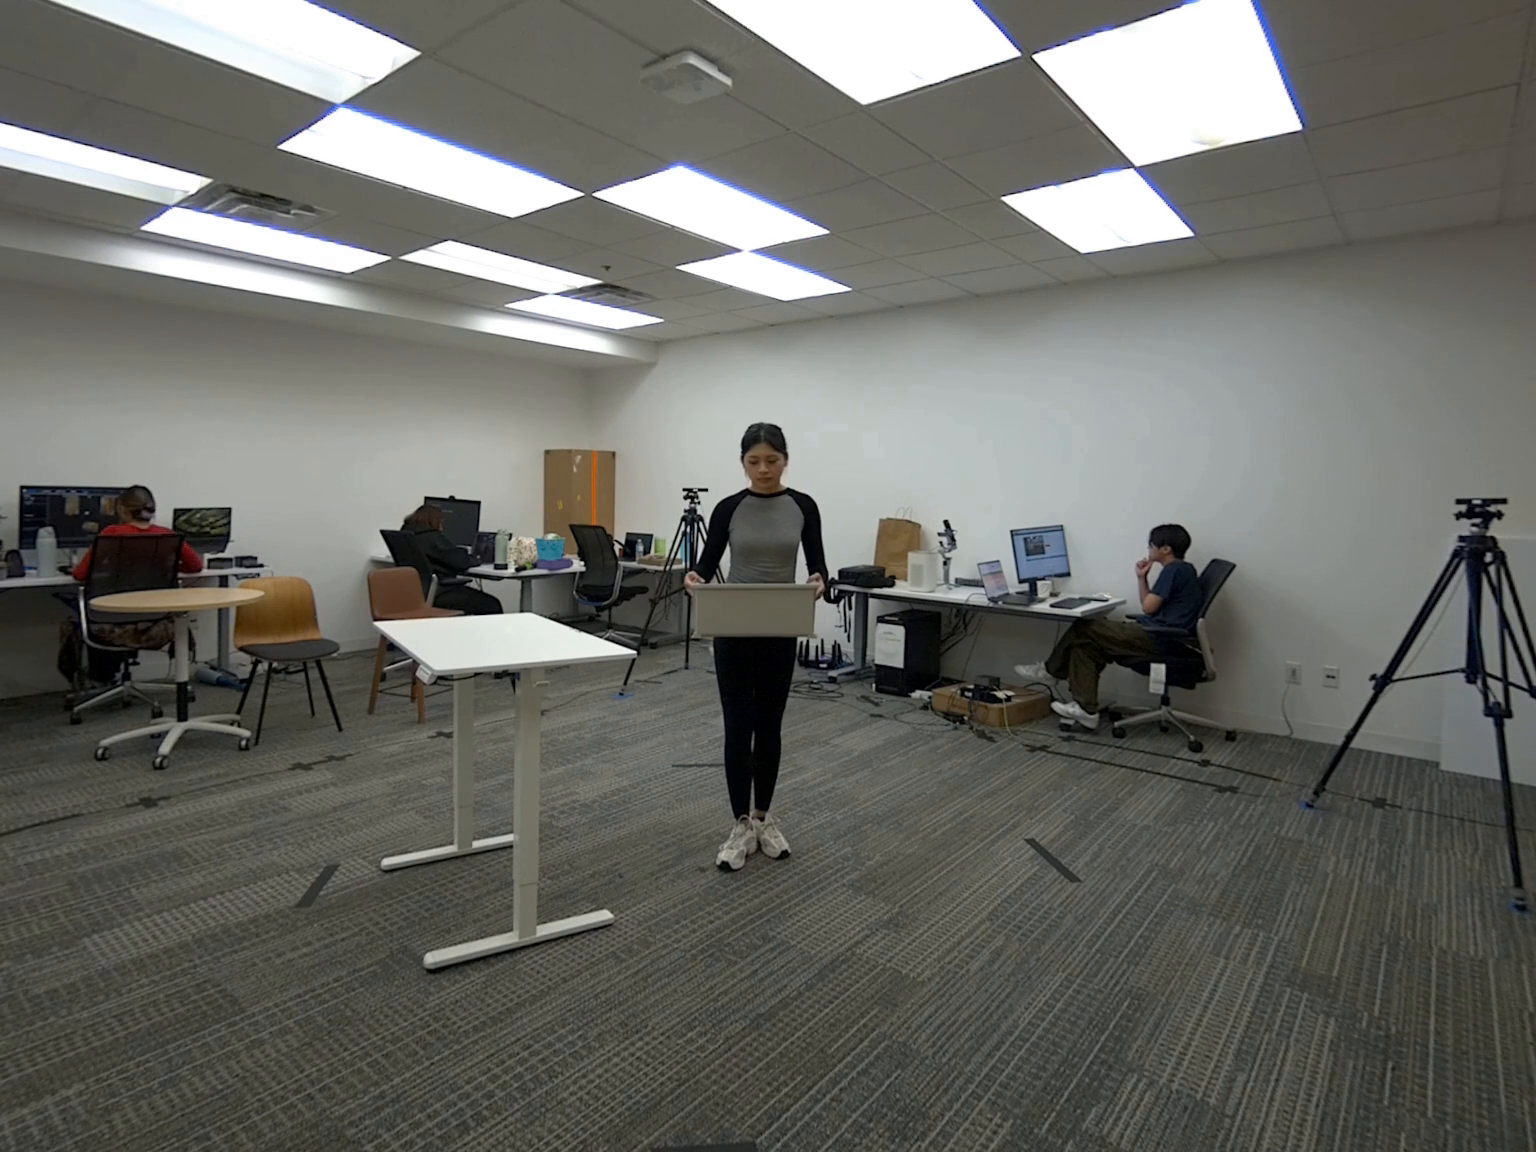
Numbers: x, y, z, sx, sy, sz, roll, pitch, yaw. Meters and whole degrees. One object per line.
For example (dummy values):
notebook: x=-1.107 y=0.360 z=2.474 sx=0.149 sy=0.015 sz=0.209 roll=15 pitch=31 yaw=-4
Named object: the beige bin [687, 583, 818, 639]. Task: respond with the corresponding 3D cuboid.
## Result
beige bin: x=-0.060 y=0.100 z=2.964 sx=0.423 sy=0.188 sz=0.379 roll=1 pitch=6 yaw=0
